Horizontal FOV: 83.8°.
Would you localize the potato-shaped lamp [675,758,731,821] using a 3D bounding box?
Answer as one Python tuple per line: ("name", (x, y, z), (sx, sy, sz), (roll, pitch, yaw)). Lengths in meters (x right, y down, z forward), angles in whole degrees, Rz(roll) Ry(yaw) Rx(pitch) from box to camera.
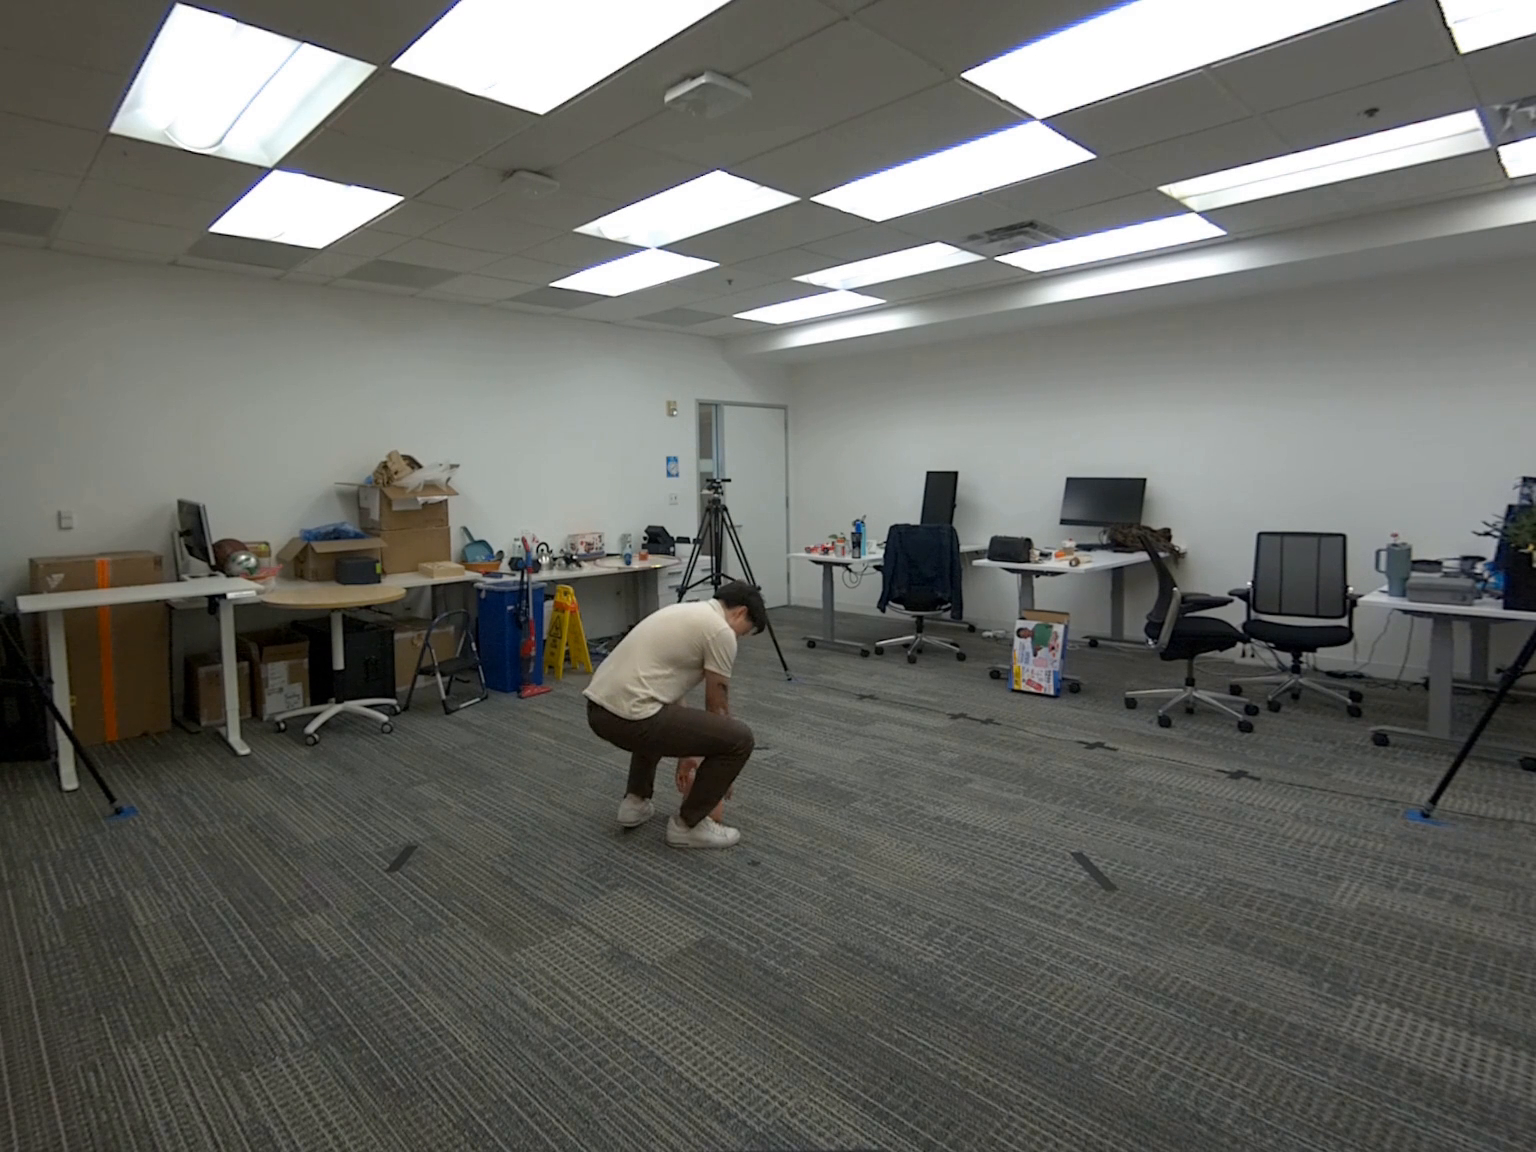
("potato-shaped lamp", (-0.260, 0.898, 3.482), (0.167, 0.198, 0.169), (-5, 1, 18))
